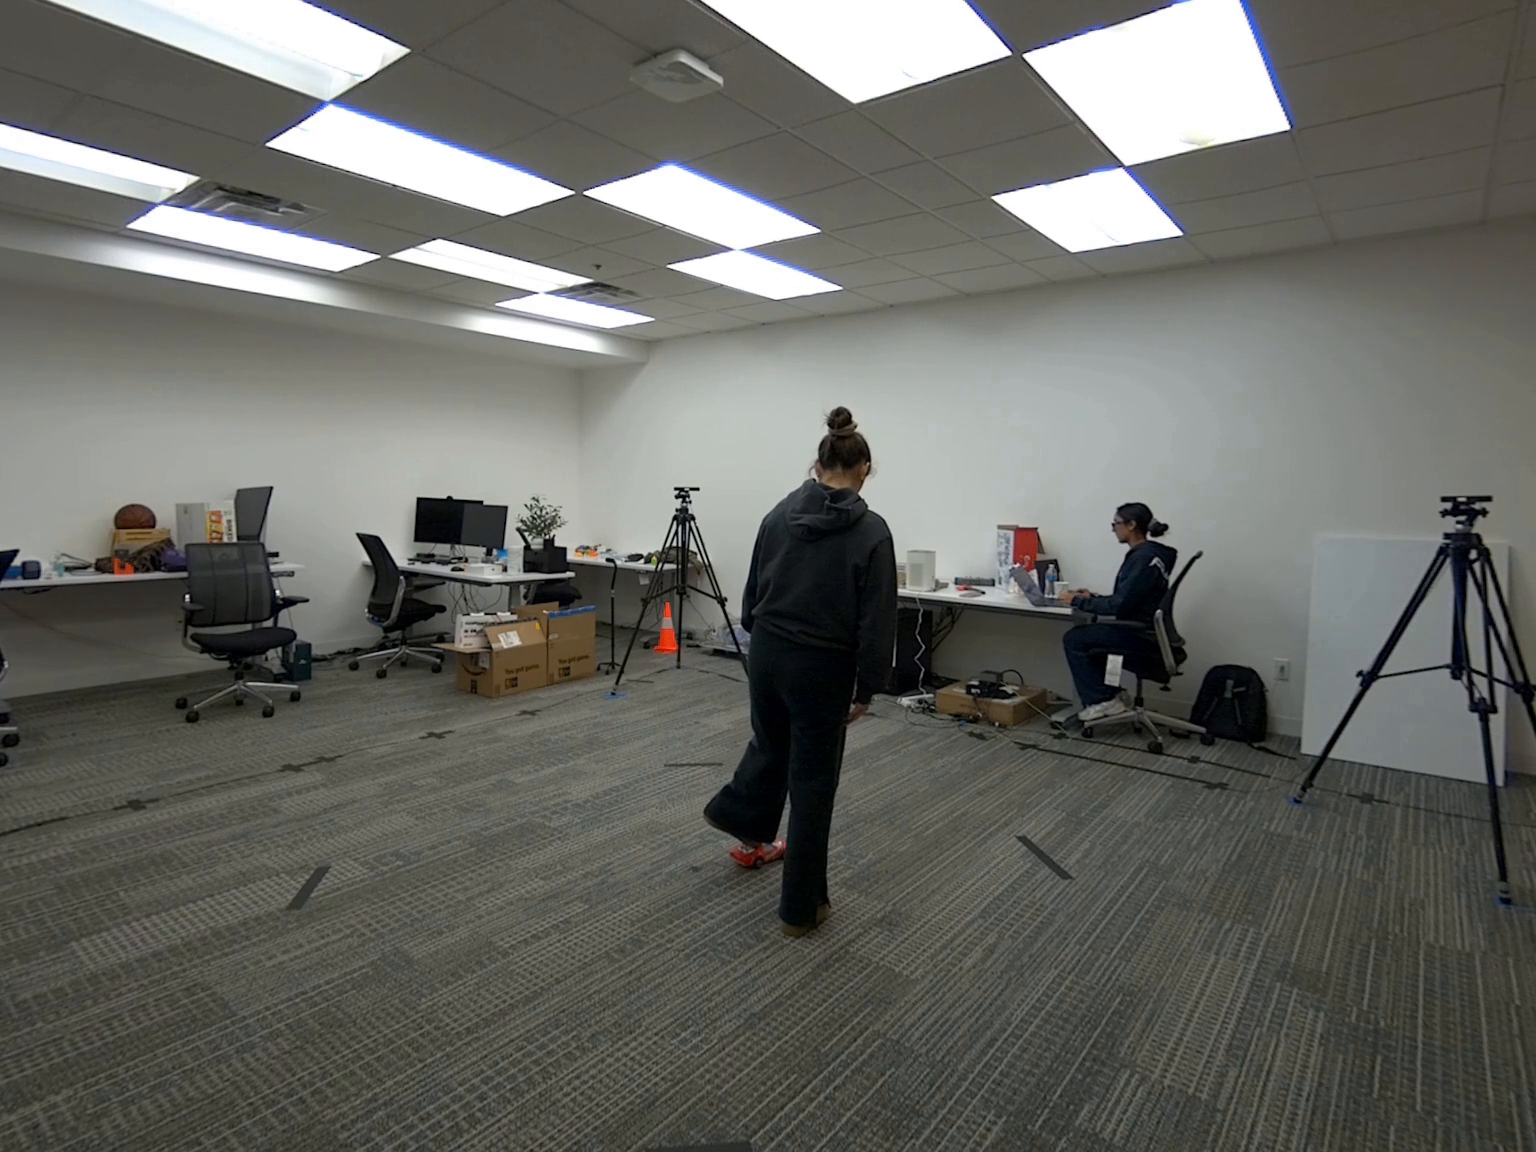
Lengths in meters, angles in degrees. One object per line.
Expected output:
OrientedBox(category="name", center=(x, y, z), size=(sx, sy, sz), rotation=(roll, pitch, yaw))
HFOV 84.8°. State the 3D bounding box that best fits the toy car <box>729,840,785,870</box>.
OrientedBox(category="toy car", center=(-0.034, 1.031, 3.182), size=(0.245, 0.083, 0.135), rotation=(10, -1, -40))
